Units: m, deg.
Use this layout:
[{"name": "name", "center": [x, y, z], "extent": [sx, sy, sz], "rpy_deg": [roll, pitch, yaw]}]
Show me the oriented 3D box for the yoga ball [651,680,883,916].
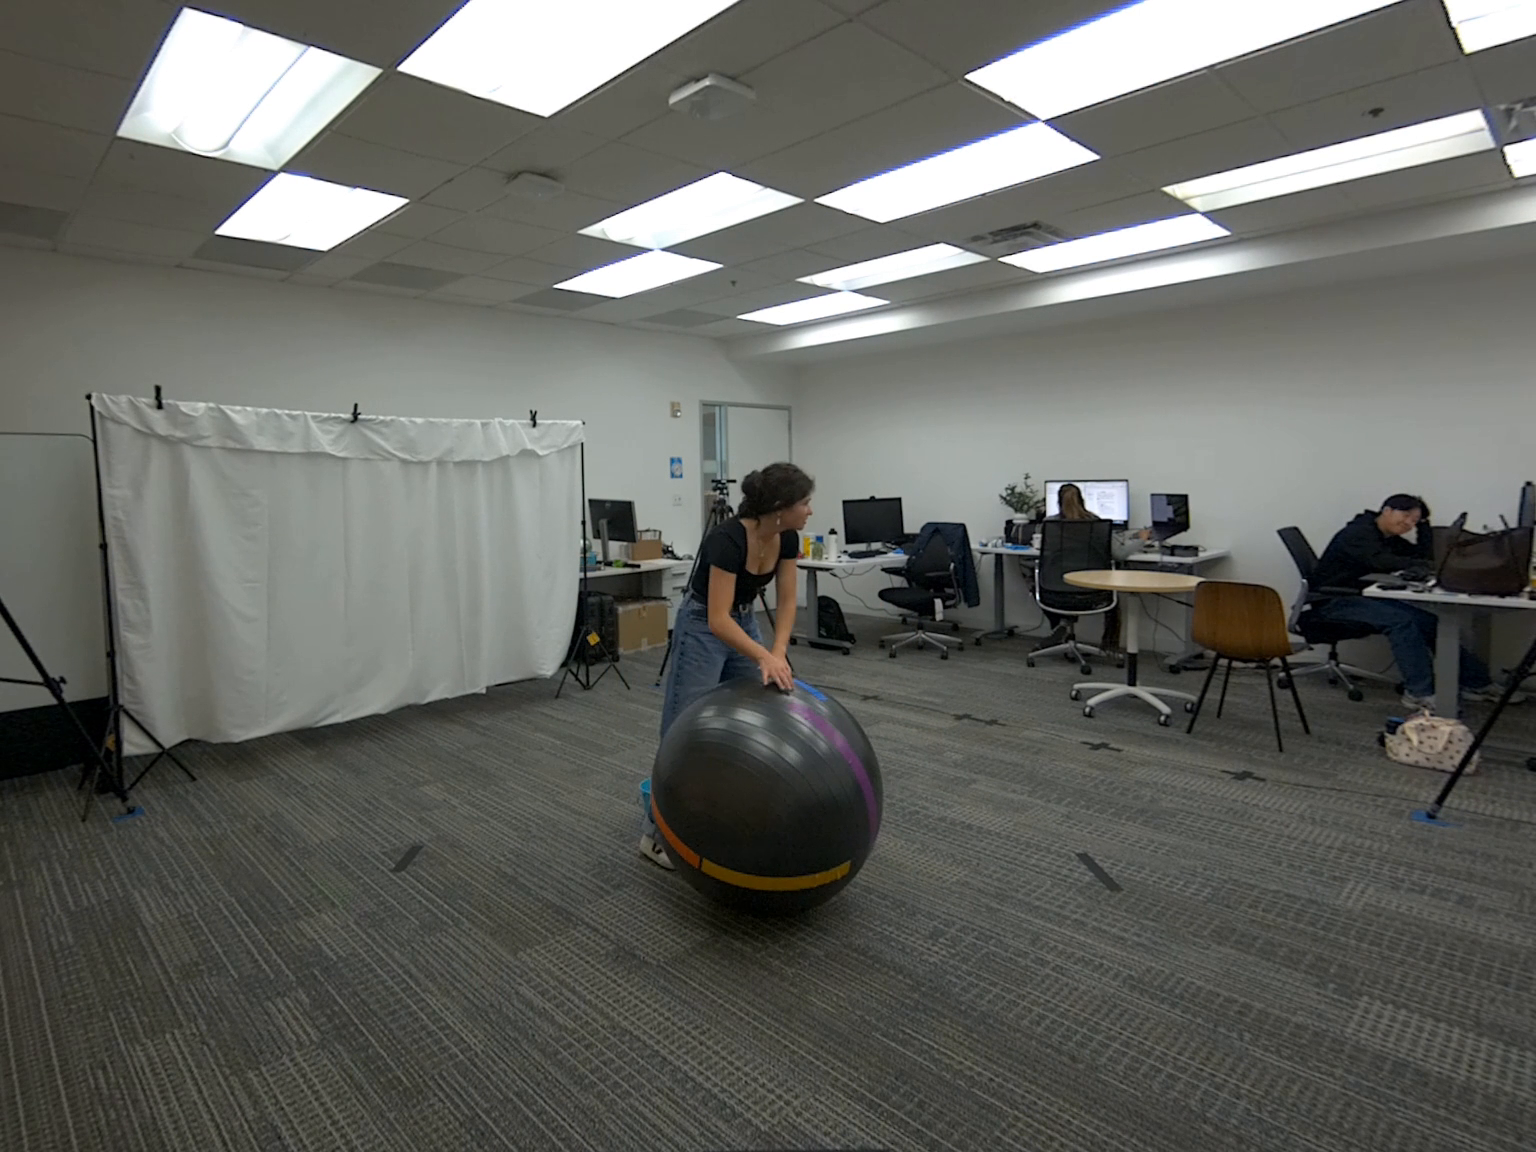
[{"name": "yoga ball", "center": [-0.002, 0.716, 2.809], "extent": [0.757, 0.755, 0.762], "rpy_deg": [-1, 5, -2]}]
